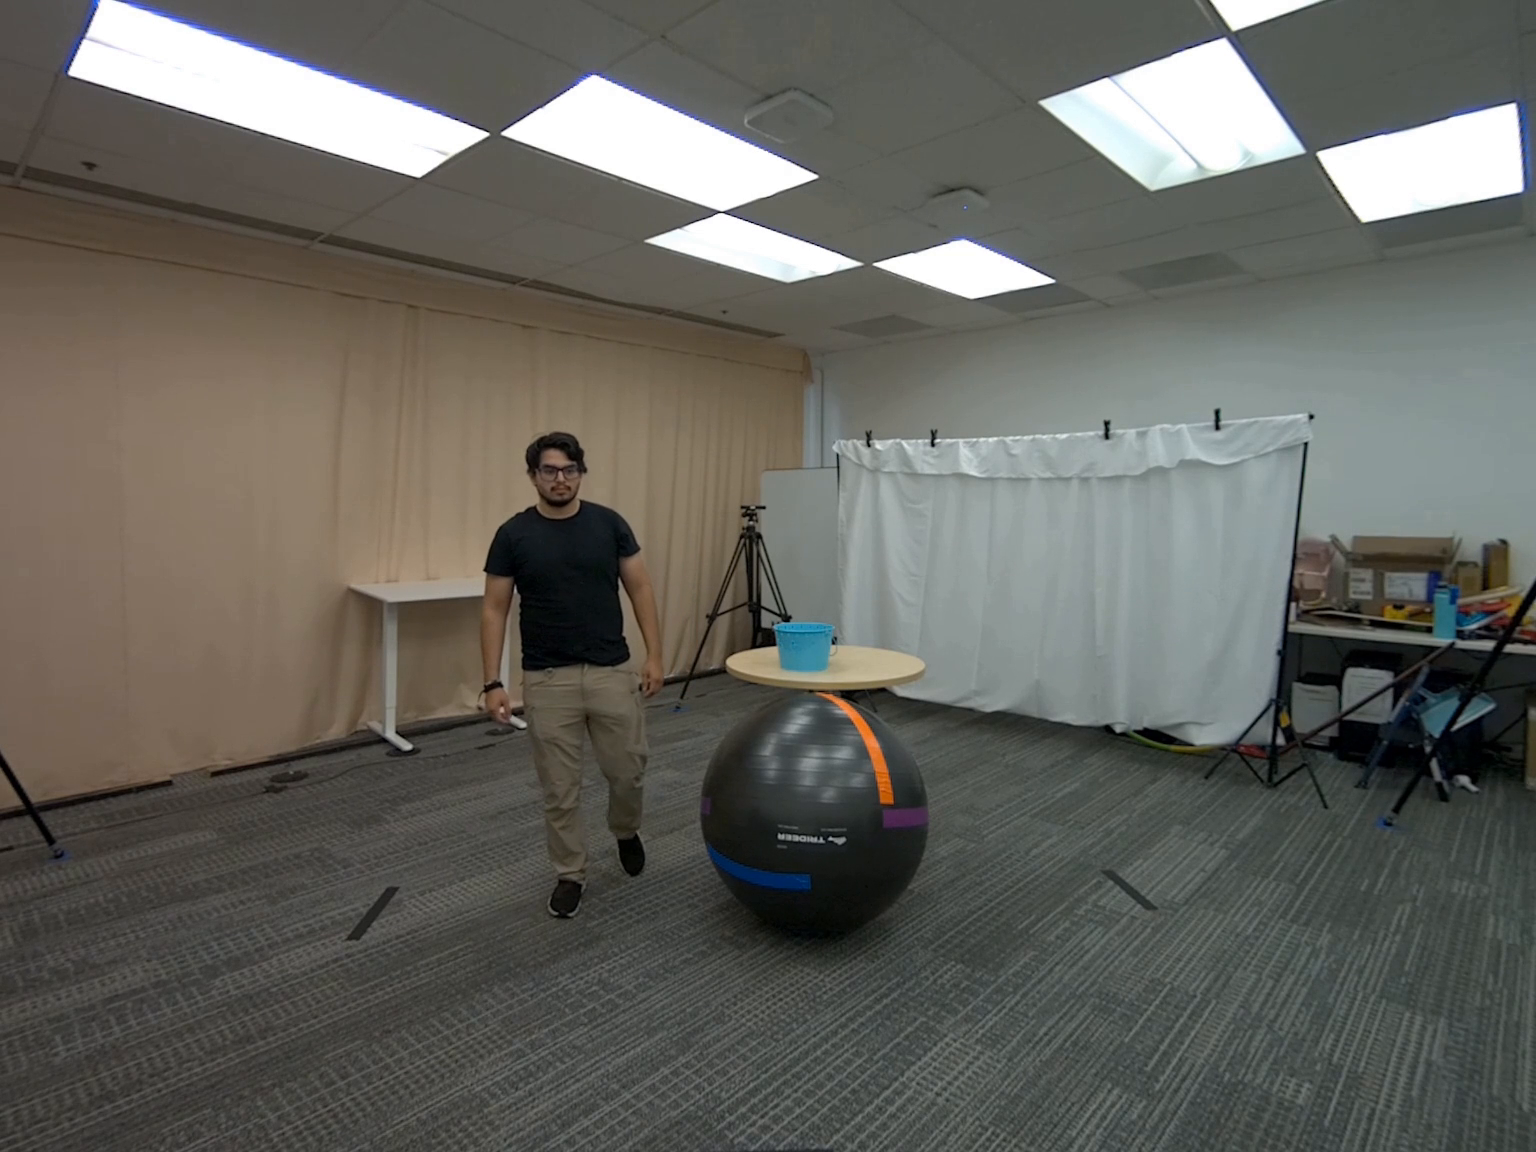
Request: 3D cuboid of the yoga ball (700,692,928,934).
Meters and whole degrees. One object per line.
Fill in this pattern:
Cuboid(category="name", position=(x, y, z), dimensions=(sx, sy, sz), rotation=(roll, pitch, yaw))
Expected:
Cuboid(category="yoga ball", position=(0.146, 0.793, 2.822), dimensions=(0.757, 0.756, 0.760), rotation=(0, 4, -2))
